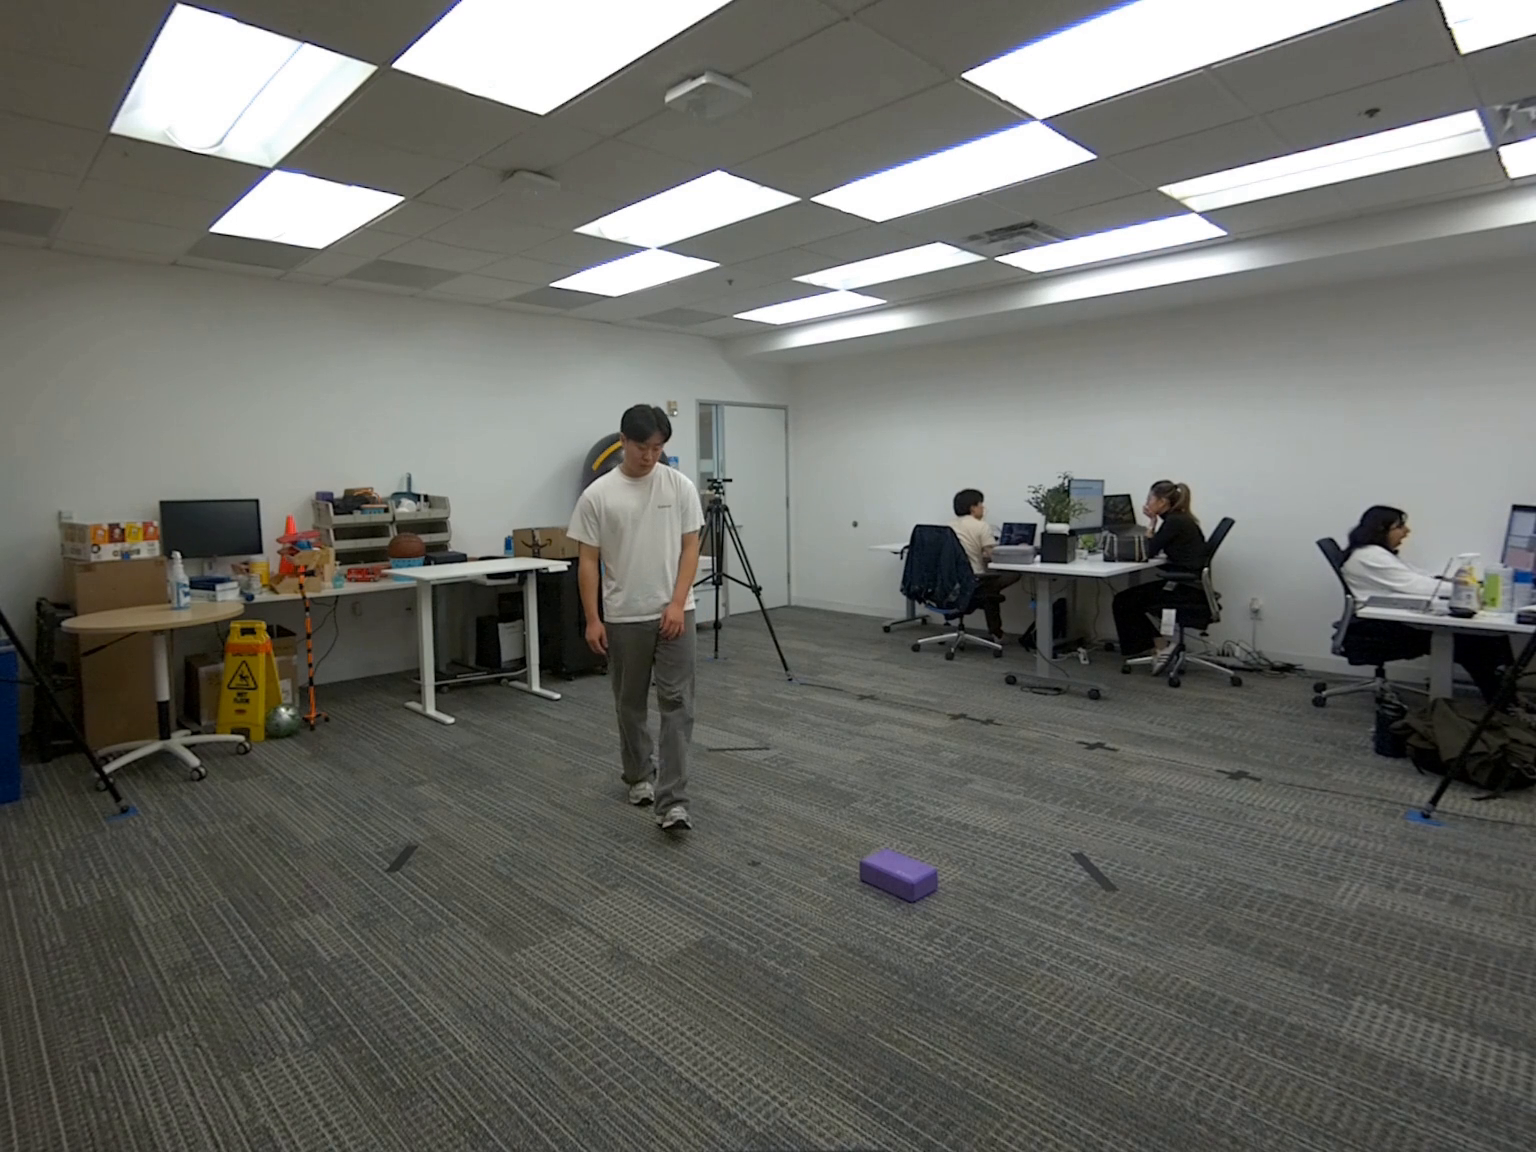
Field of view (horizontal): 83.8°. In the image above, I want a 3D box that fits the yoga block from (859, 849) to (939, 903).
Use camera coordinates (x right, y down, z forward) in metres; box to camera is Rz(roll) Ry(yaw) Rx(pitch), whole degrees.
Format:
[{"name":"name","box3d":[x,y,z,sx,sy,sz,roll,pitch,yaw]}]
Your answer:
[{"name":"yoga block","box3d":[0.449,1.021,2.922,0.145,0.076,0.236,-6,8,-42]}]
